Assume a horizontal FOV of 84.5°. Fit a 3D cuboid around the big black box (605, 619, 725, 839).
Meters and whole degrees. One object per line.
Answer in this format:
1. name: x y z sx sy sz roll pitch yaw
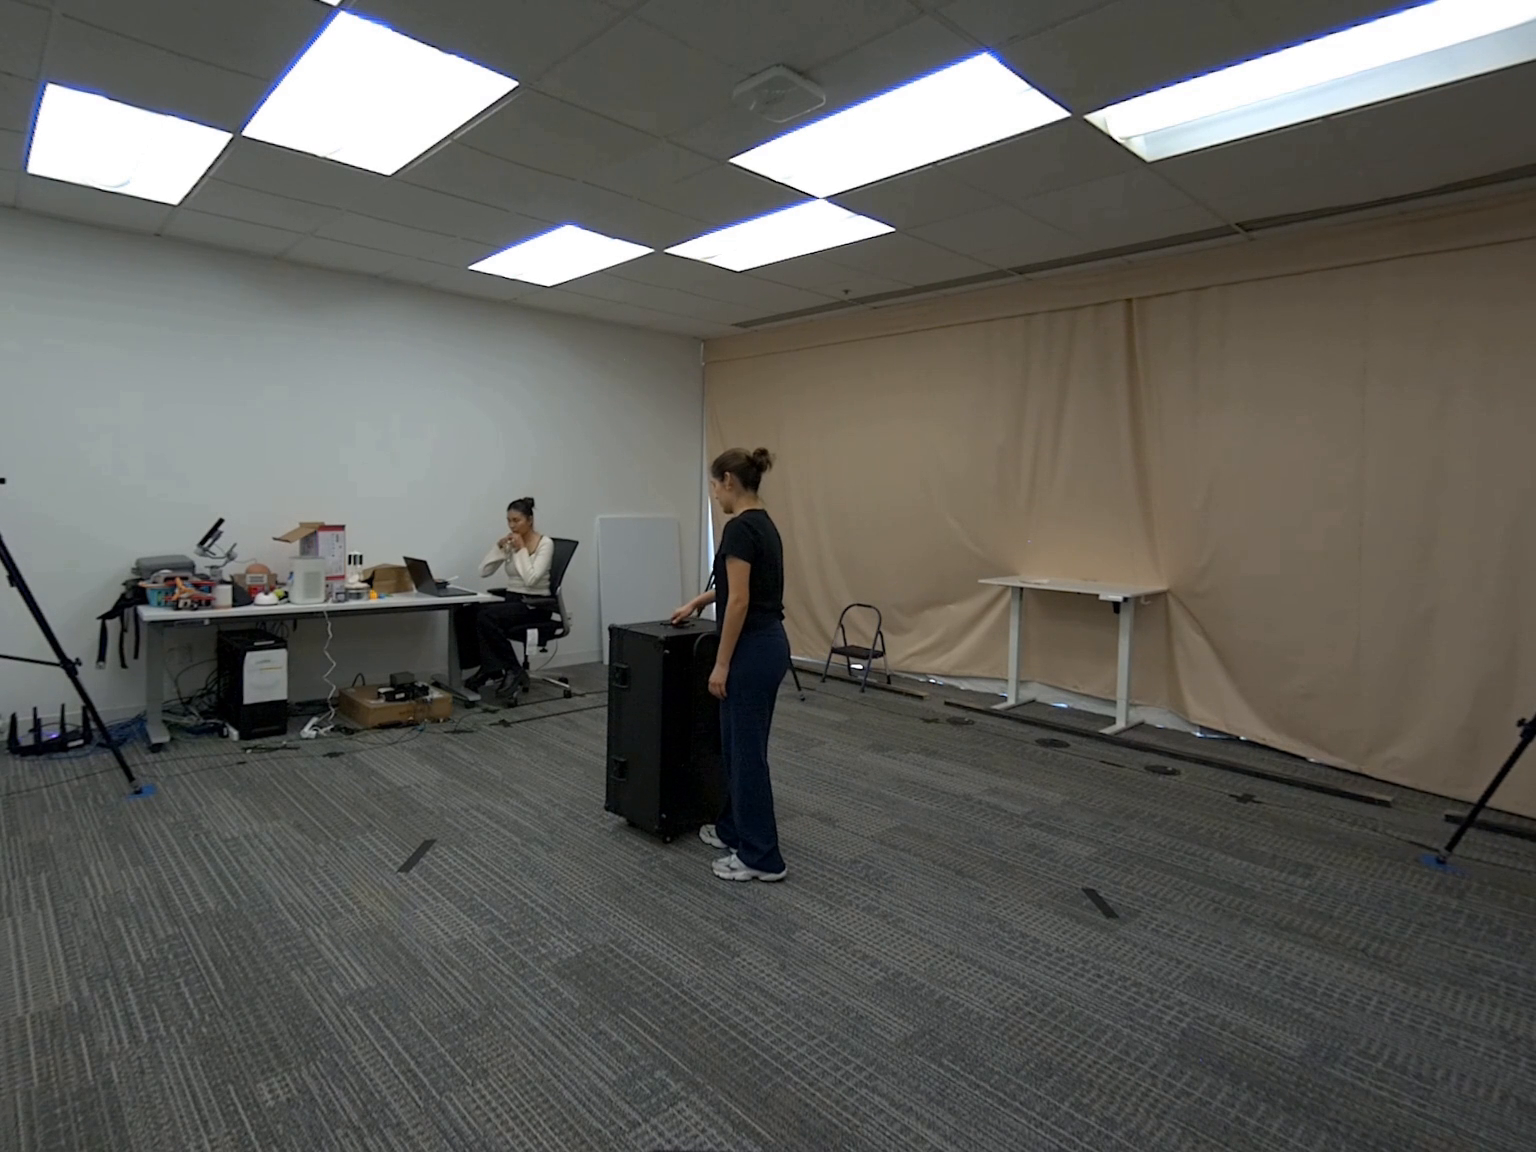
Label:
1. big black box: -0.377 0.636 3.549 0.406 0.859 0.509 6 5 44
